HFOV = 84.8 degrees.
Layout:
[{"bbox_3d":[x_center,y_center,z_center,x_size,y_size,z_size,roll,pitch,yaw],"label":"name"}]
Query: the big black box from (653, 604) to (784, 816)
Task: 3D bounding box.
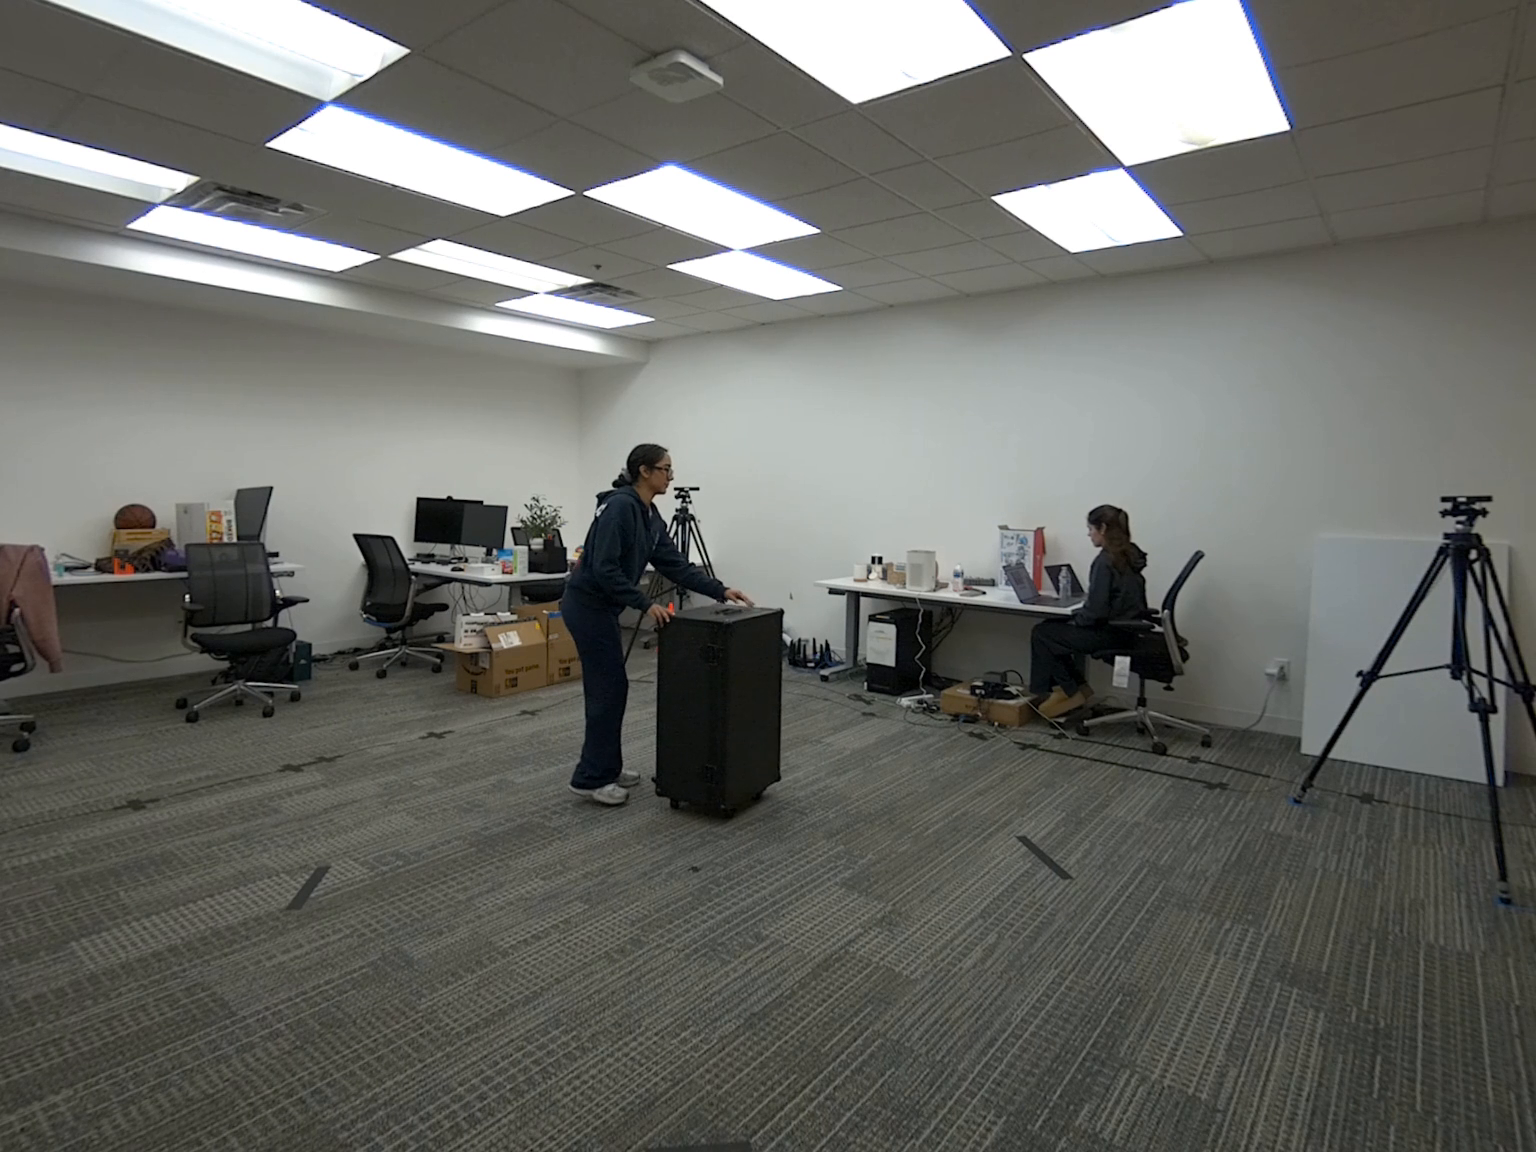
[{"bbox_3d":[-0.230,0.578,3.742,0.408,0.859,0.508,2,4,30],"label":"big black box"}]
